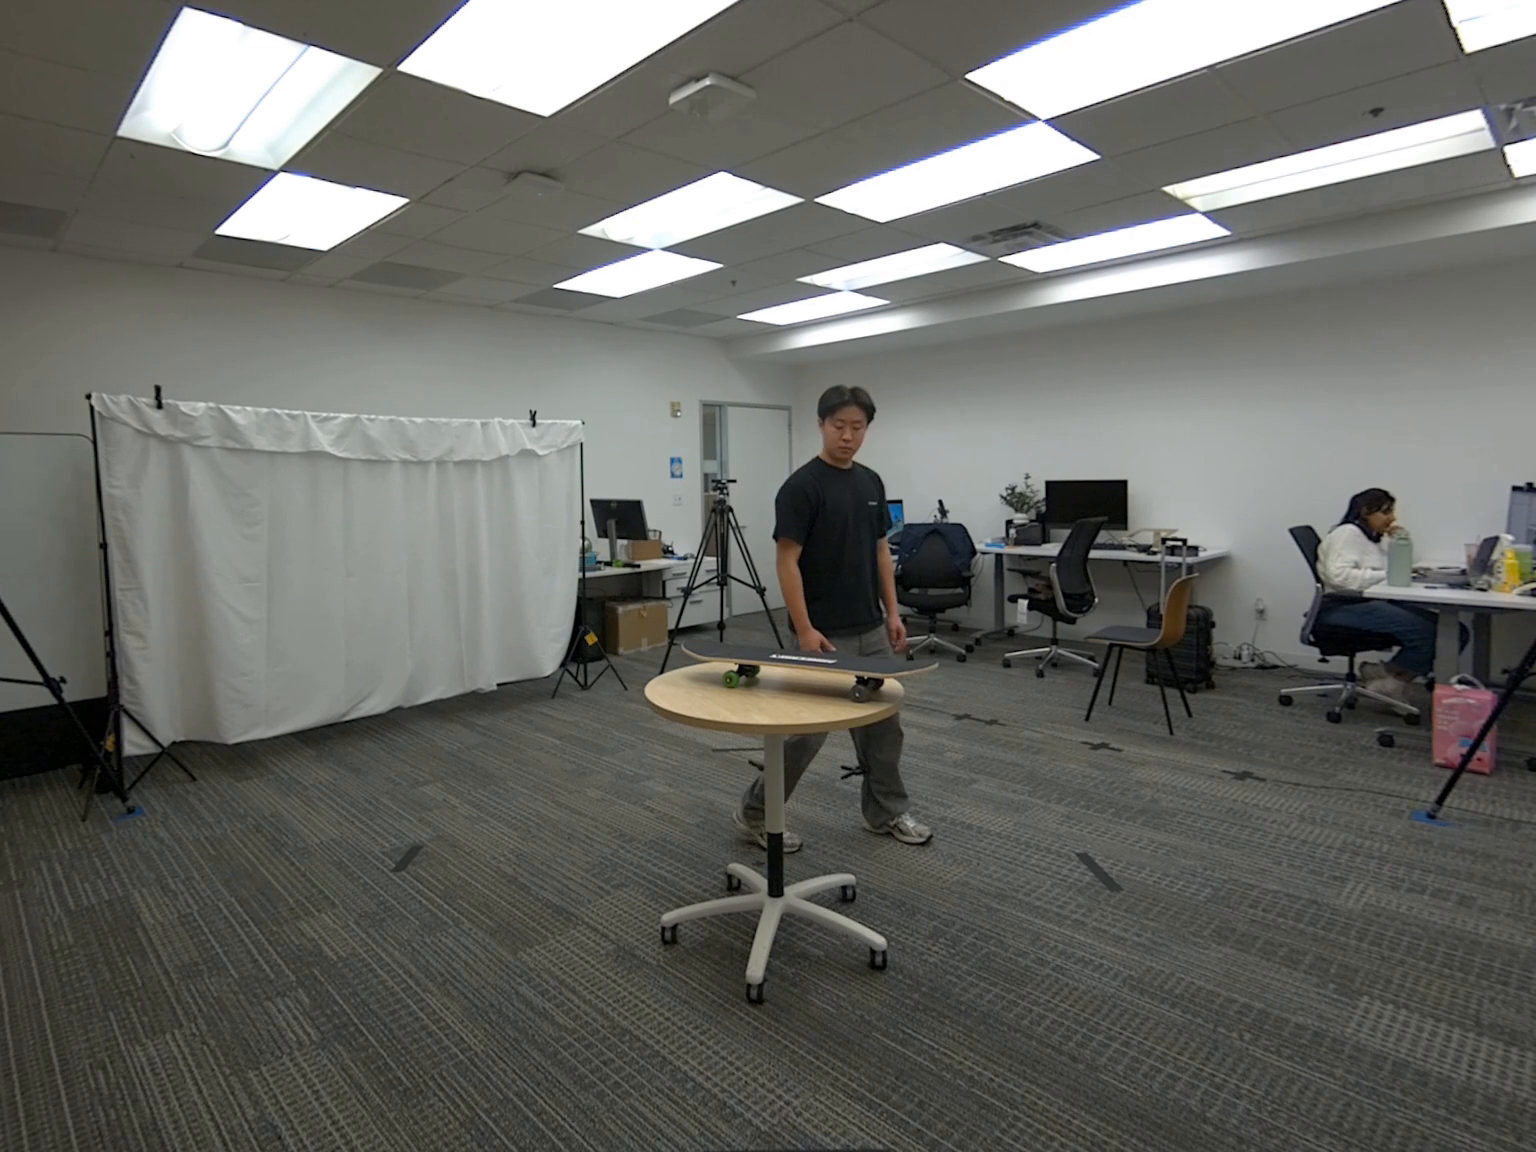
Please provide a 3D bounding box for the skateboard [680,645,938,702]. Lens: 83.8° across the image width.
[{"bbox_3d":[0.112,0.289,2.511,0.805,0.110,0.190,3,8,27],"label":"skateboard"}]
